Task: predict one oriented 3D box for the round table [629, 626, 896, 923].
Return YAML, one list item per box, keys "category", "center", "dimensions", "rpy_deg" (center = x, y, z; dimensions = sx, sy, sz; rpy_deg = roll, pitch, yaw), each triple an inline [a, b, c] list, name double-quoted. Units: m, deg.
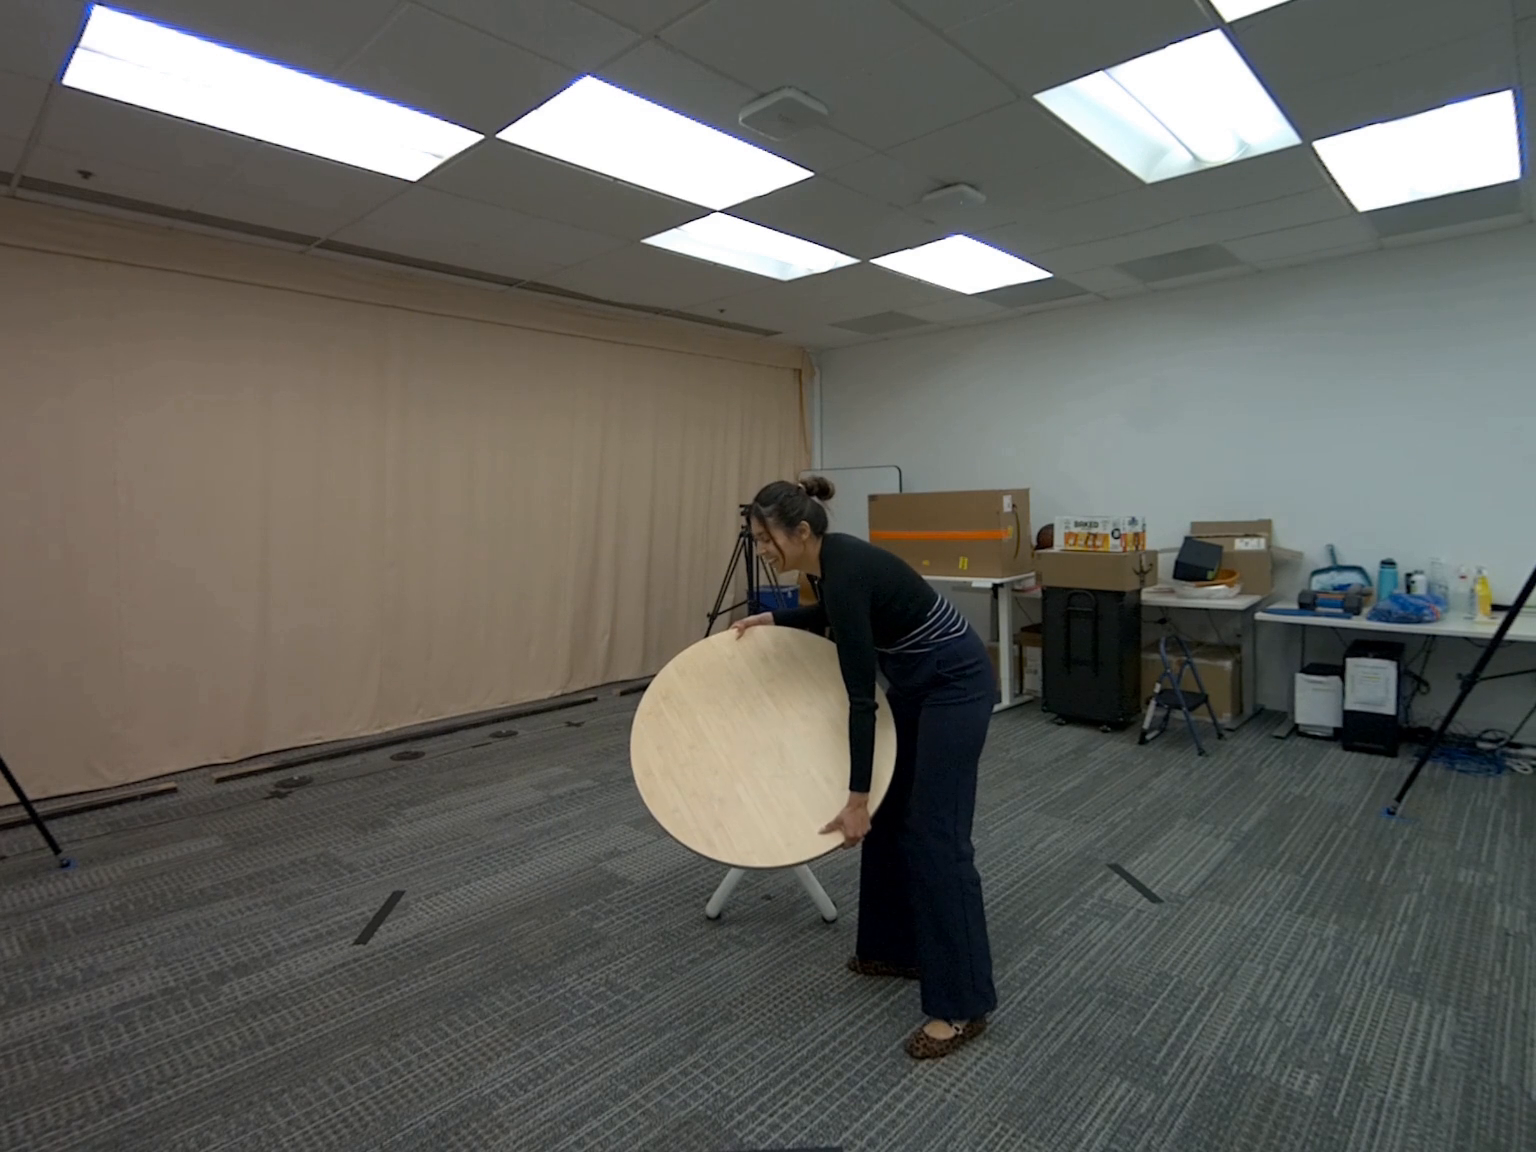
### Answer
- category: "round table"
  center: [0.006, 0.700, 2.729]
  dimensions: [0.767, 0.778, 0.776]
  rpy_deg: [-4, -41, 2]
